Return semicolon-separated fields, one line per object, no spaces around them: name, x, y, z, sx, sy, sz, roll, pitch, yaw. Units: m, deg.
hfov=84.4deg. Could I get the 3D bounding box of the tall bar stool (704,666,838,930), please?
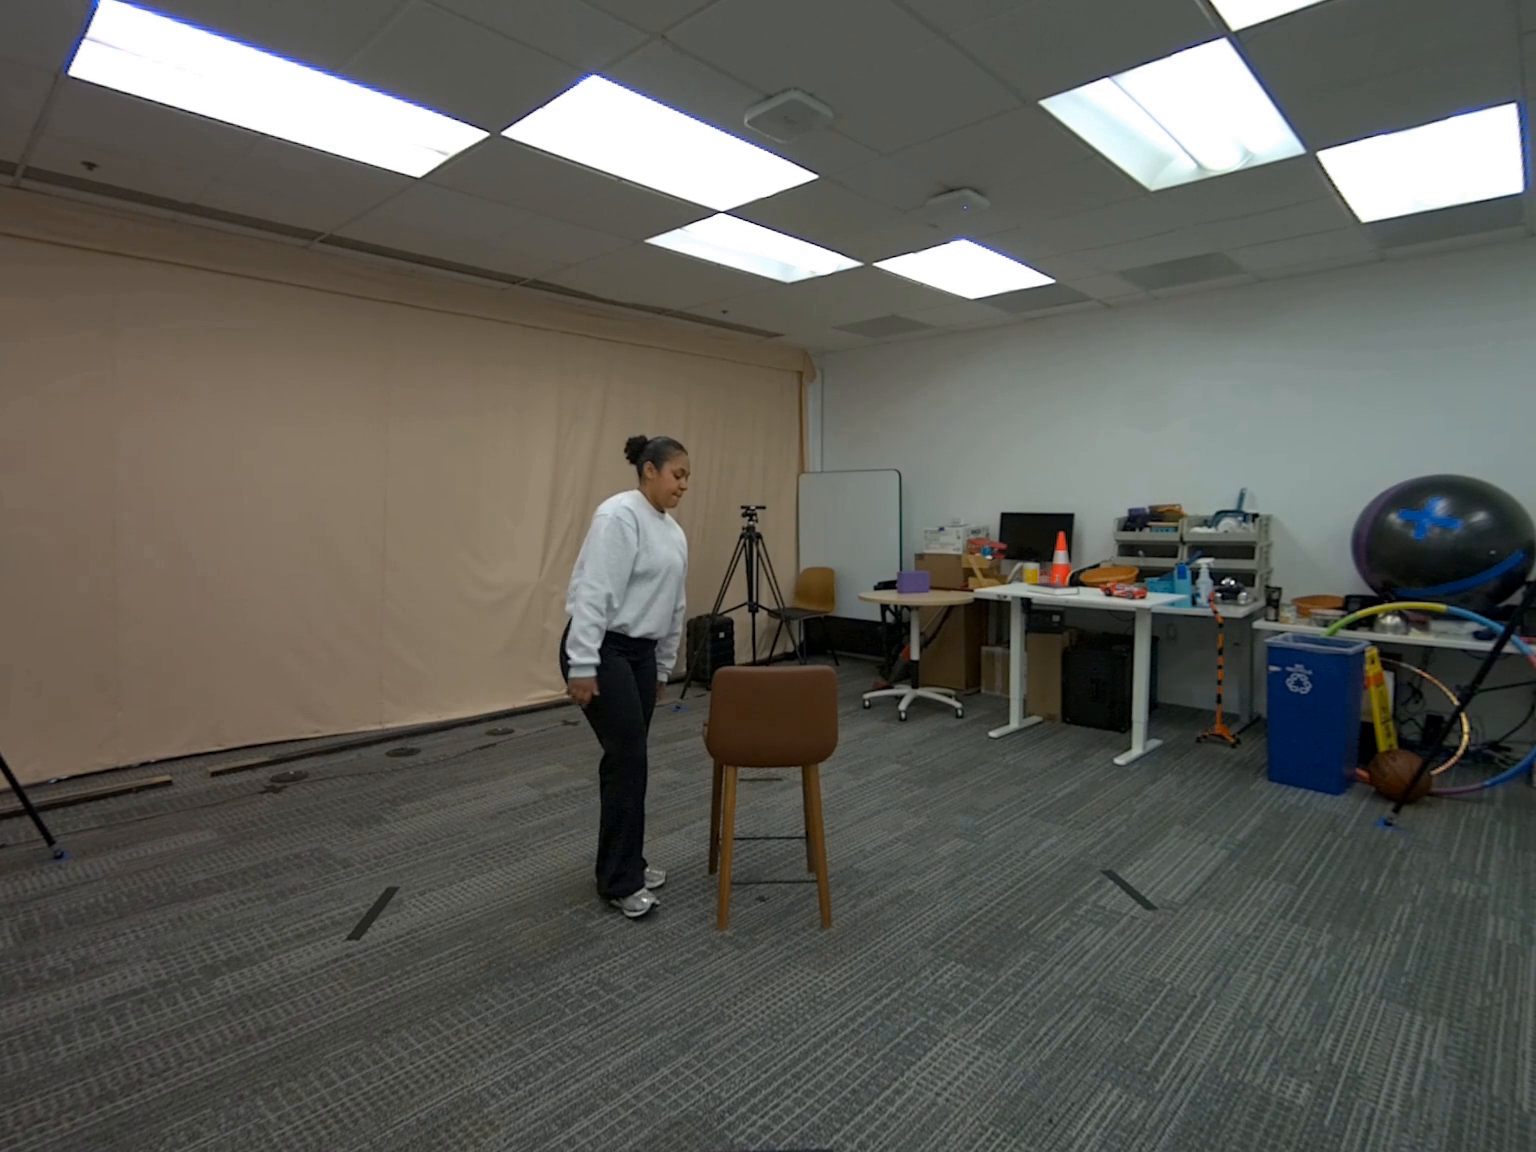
tall bar stool;-0.003;0.716;2.960;0.455;0.887;0.470;0;4;-3
